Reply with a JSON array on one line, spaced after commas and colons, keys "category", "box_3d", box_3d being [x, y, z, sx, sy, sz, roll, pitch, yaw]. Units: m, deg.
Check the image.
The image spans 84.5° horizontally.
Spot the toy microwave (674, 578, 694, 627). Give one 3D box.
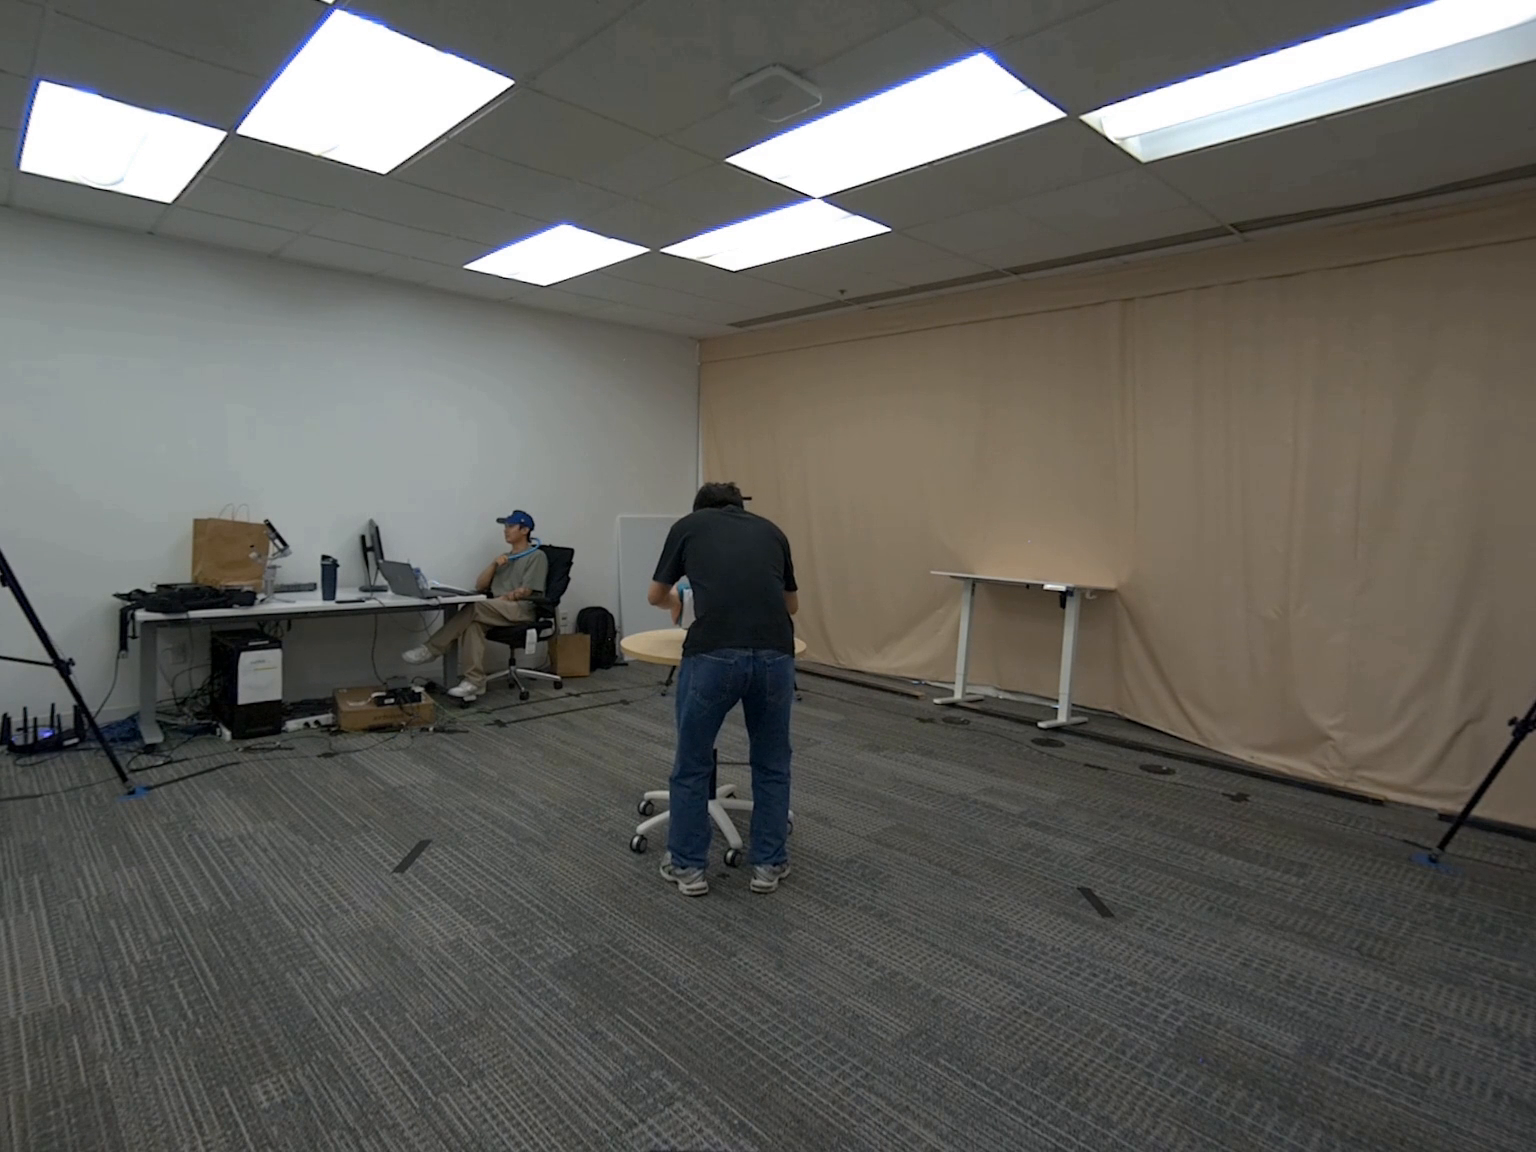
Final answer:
[{"category": "toy microwave", "box_3d": [-0.228, 0.136, 3.515, 0.283, 0.183, 0.154, 1, 5, -13]}]
